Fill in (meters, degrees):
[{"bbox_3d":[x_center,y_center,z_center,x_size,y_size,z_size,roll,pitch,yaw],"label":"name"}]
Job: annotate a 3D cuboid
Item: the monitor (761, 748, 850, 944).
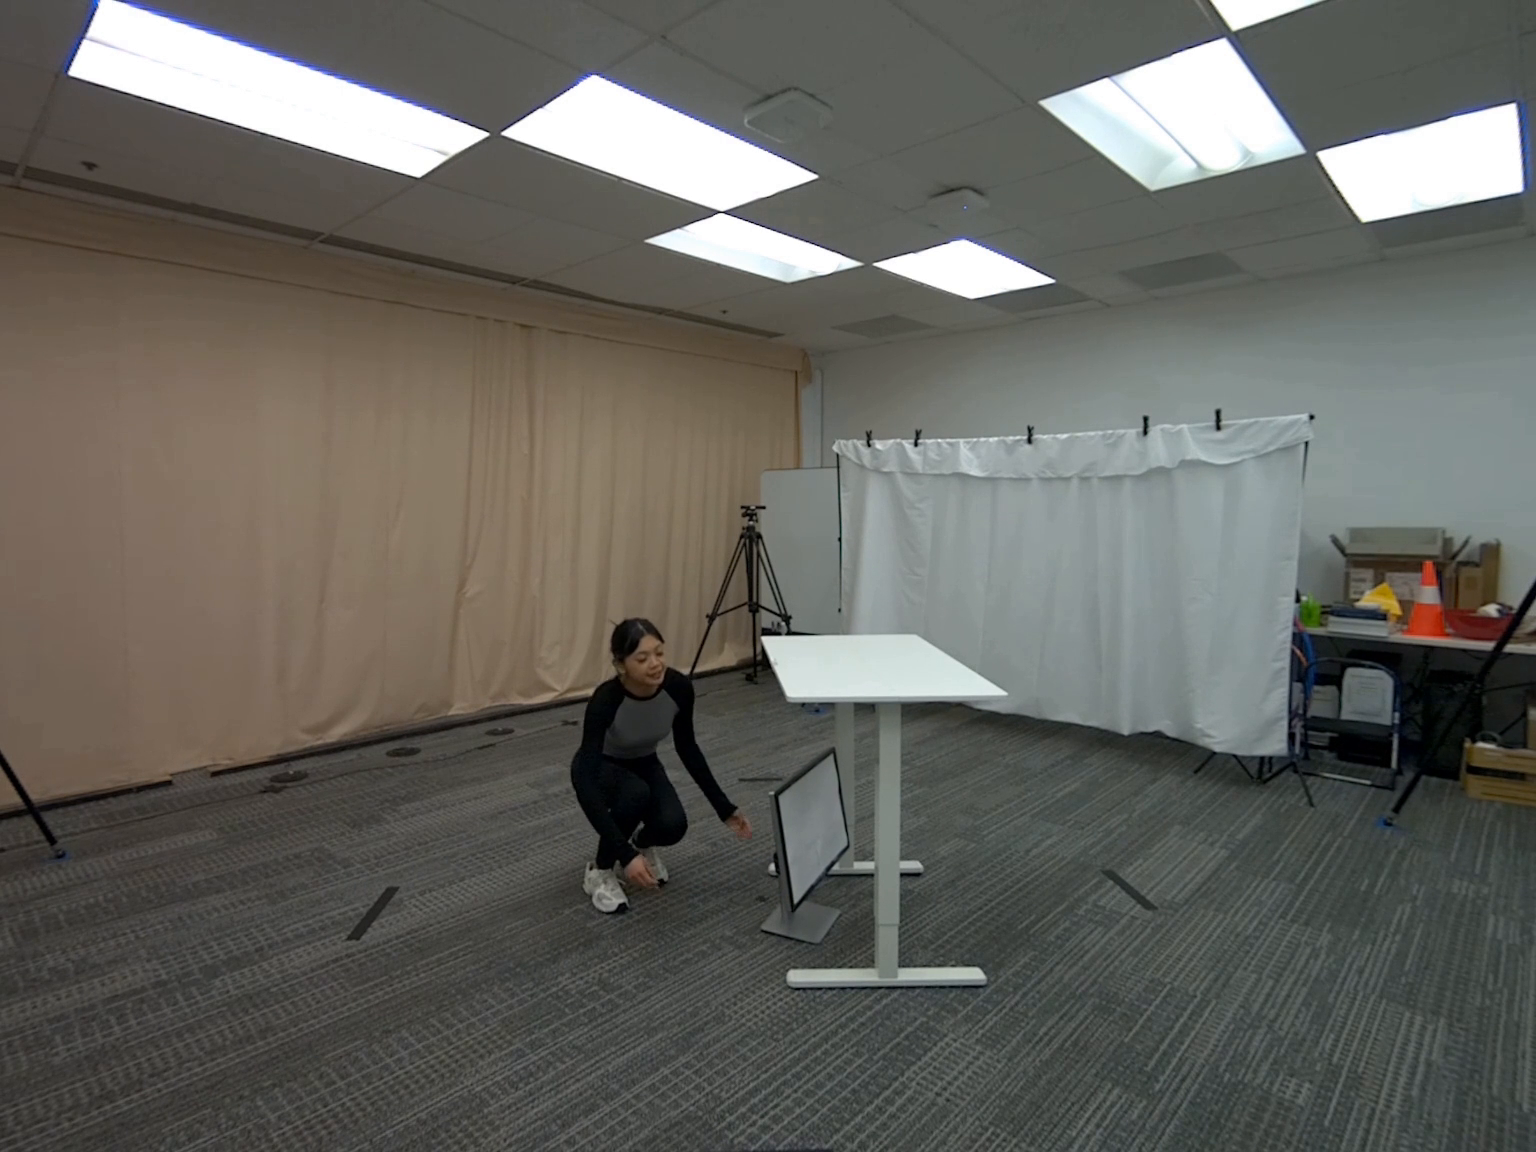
[{"bbox_3d":[0.117,0.902,2.796,0.192,0.521,0.527,4,5,22],"label":"monitor"}]
